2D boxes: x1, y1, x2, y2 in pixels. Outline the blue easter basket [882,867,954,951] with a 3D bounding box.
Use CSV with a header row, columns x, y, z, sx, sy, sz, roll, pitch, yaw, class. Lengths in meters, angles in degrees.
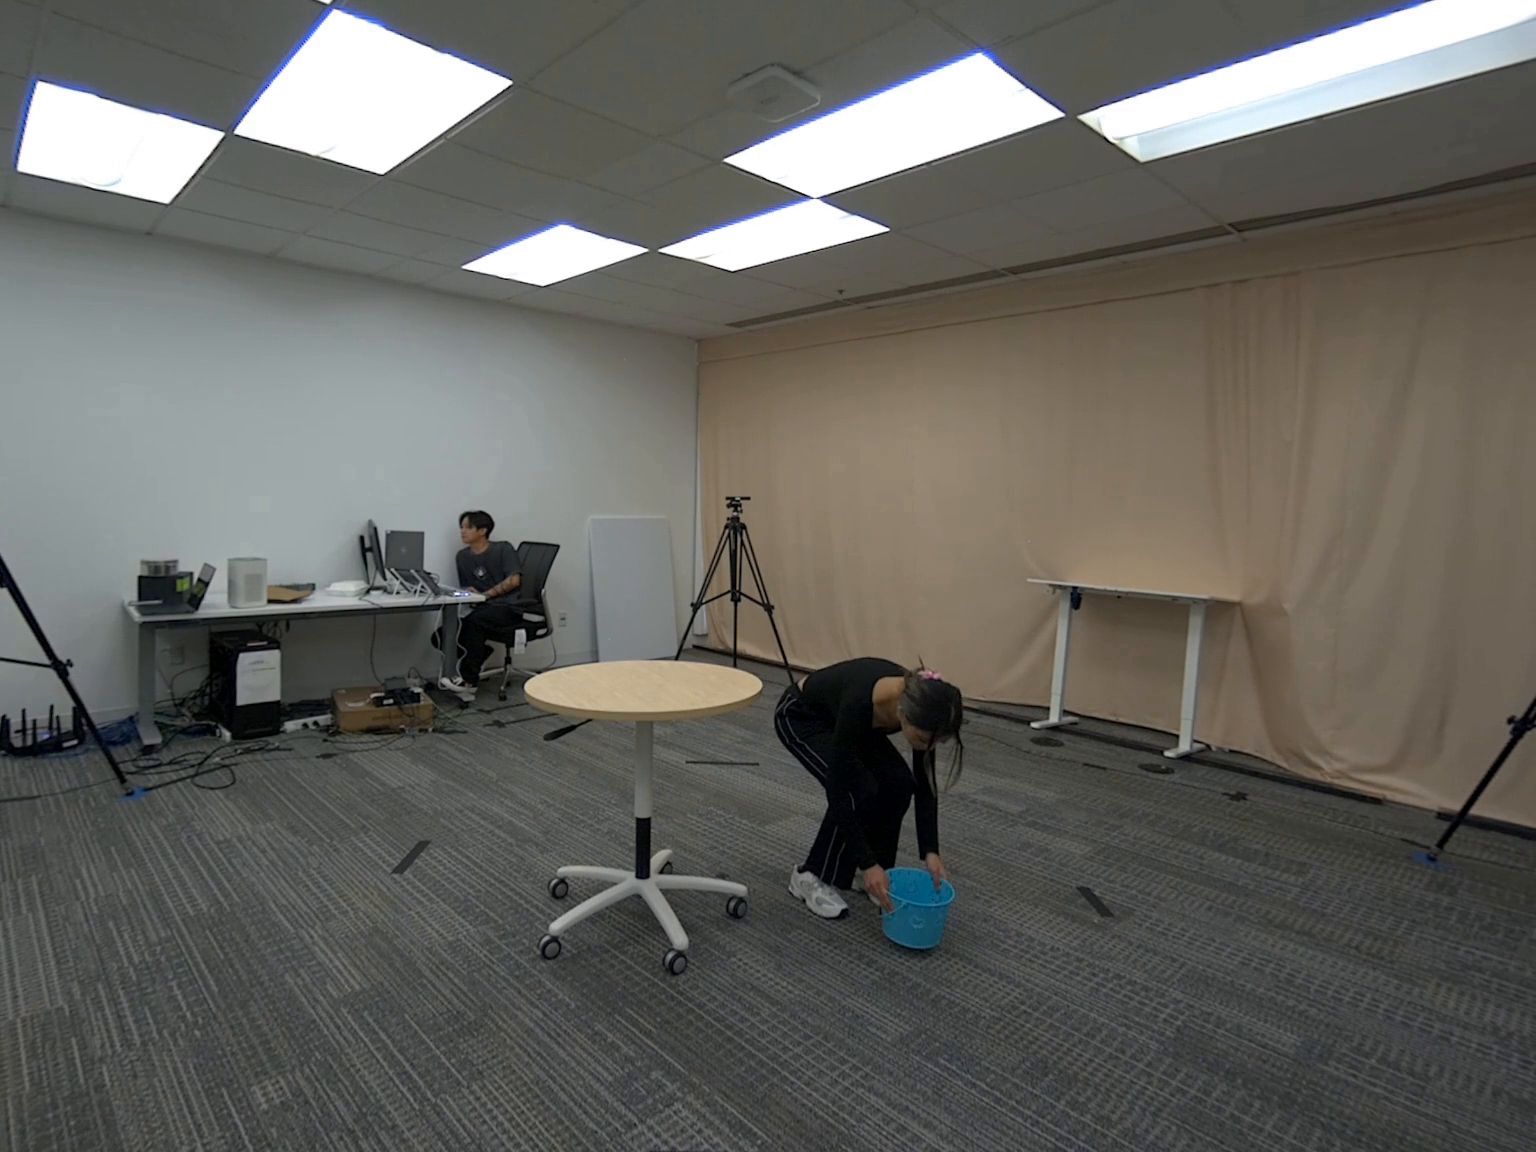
x,y,z,sx,sy,sz,roll,pitch,yaw,class
0.450,1.038,2.639,0.243,0.155,0.245,3,6,-2,blue easter basket
